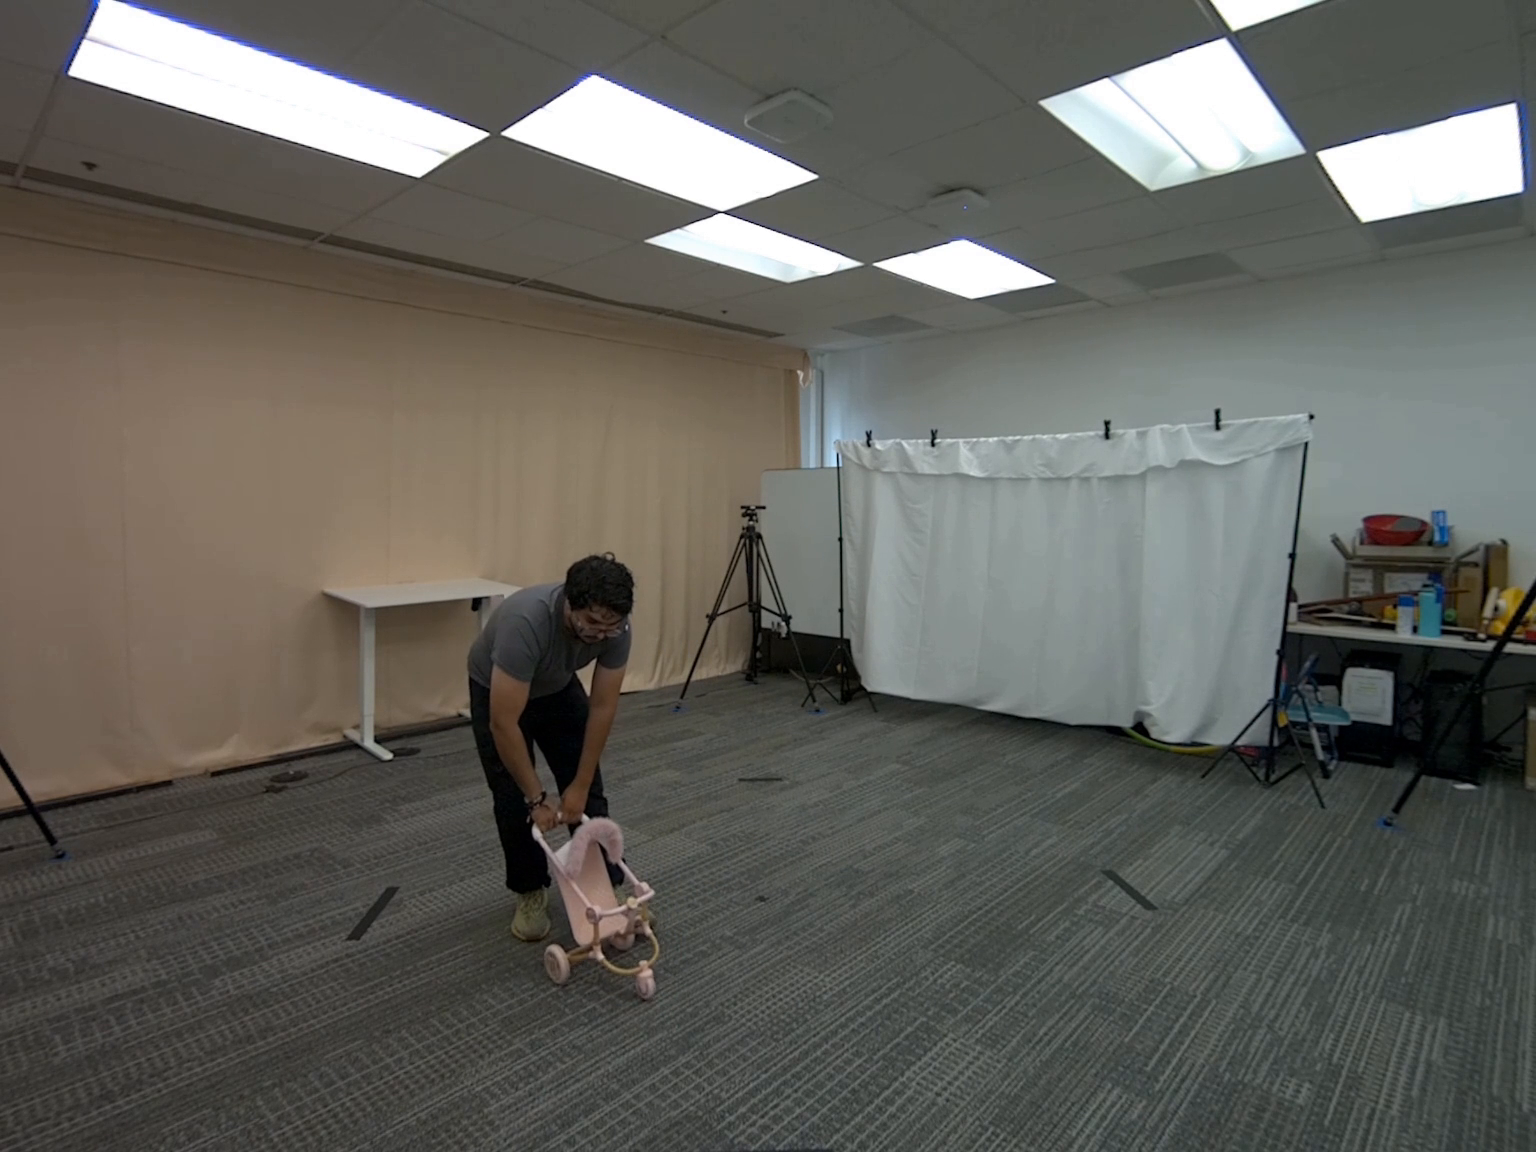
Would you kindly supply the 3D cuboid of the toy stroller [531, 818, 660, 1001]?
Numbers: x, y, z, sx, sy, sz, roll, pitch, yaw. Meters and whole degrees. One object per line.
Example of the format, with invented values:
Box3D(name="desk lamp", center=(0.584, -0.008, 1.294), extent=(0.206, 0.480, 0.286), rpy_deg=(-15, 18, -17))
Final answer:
Box3D(name="toy stroller", center=(-0.491, 0.965, 2.497), extent=(0.273, 0.539, 0.349), rpy_deg=(-4, -12, -45))
